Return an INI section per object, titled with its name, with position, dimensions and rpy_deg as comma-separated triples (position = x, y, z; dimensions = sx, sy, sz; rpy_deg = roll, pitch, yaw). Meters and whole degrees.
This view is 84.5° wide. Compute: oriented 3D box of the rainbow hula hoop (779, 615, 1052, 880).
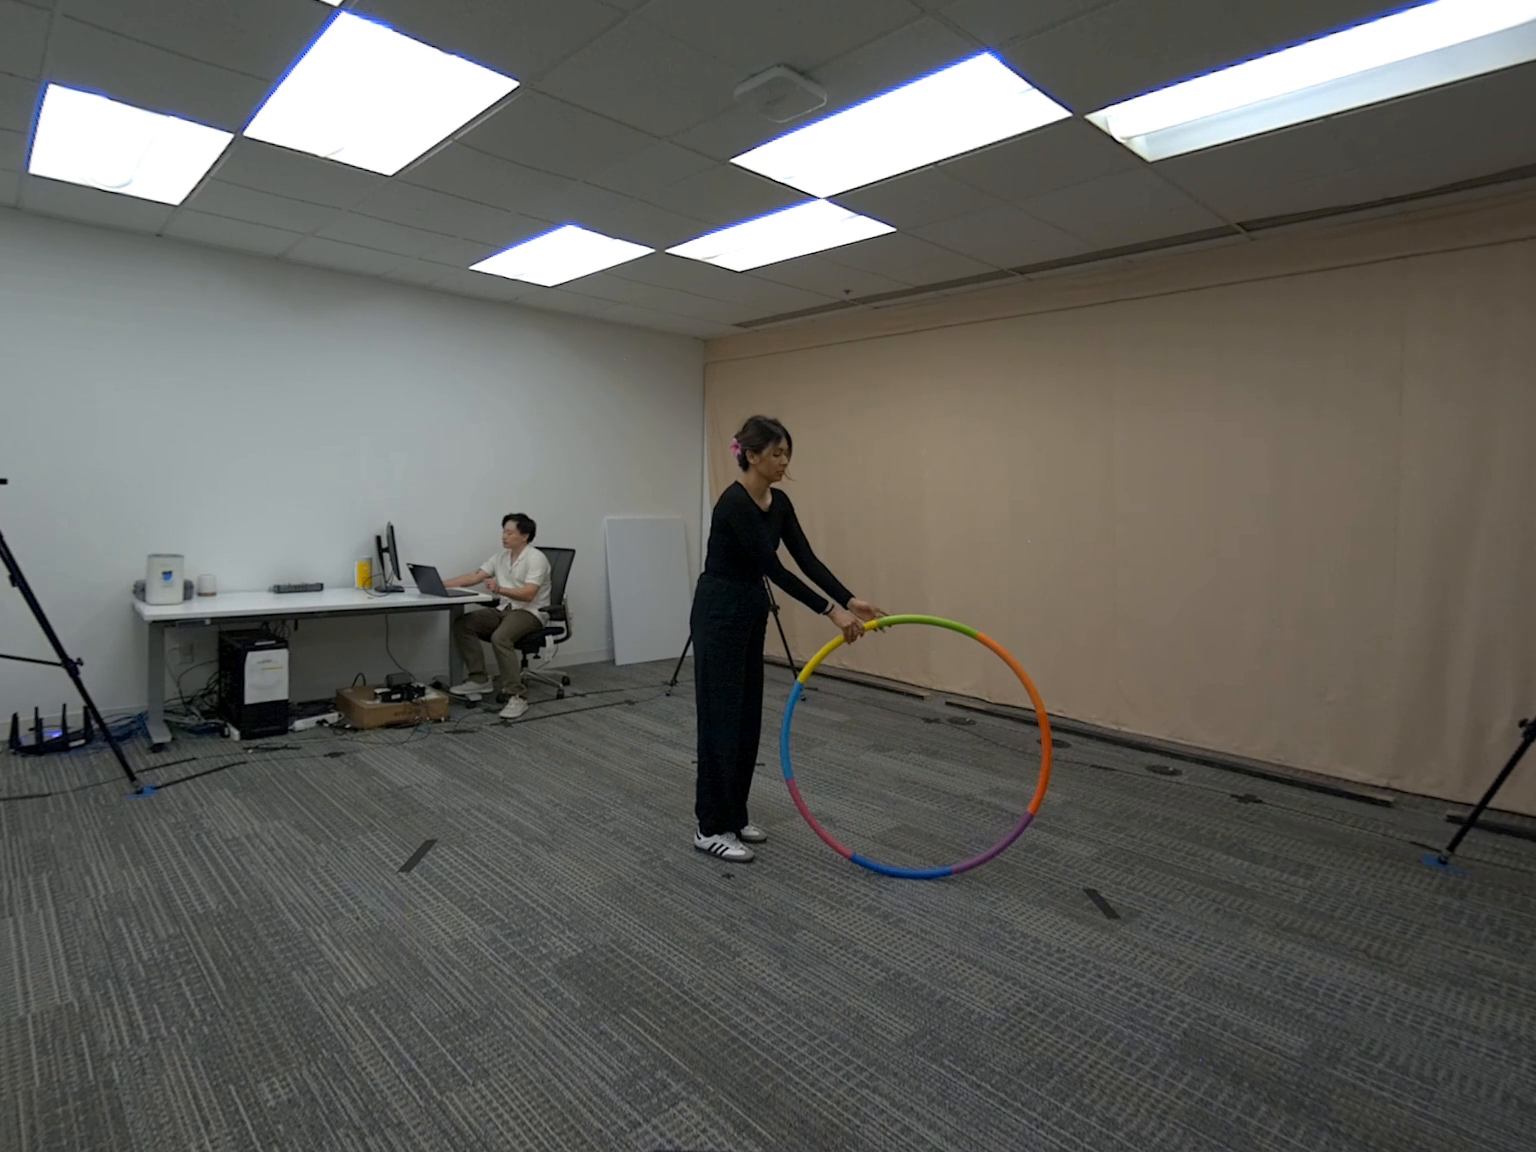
[rainbow hula hoop]
position = 0.529, 0.634, 3.142
dimensions = 0.983, 0.981, 0.035
rpy_deg = 2, -4, 6
